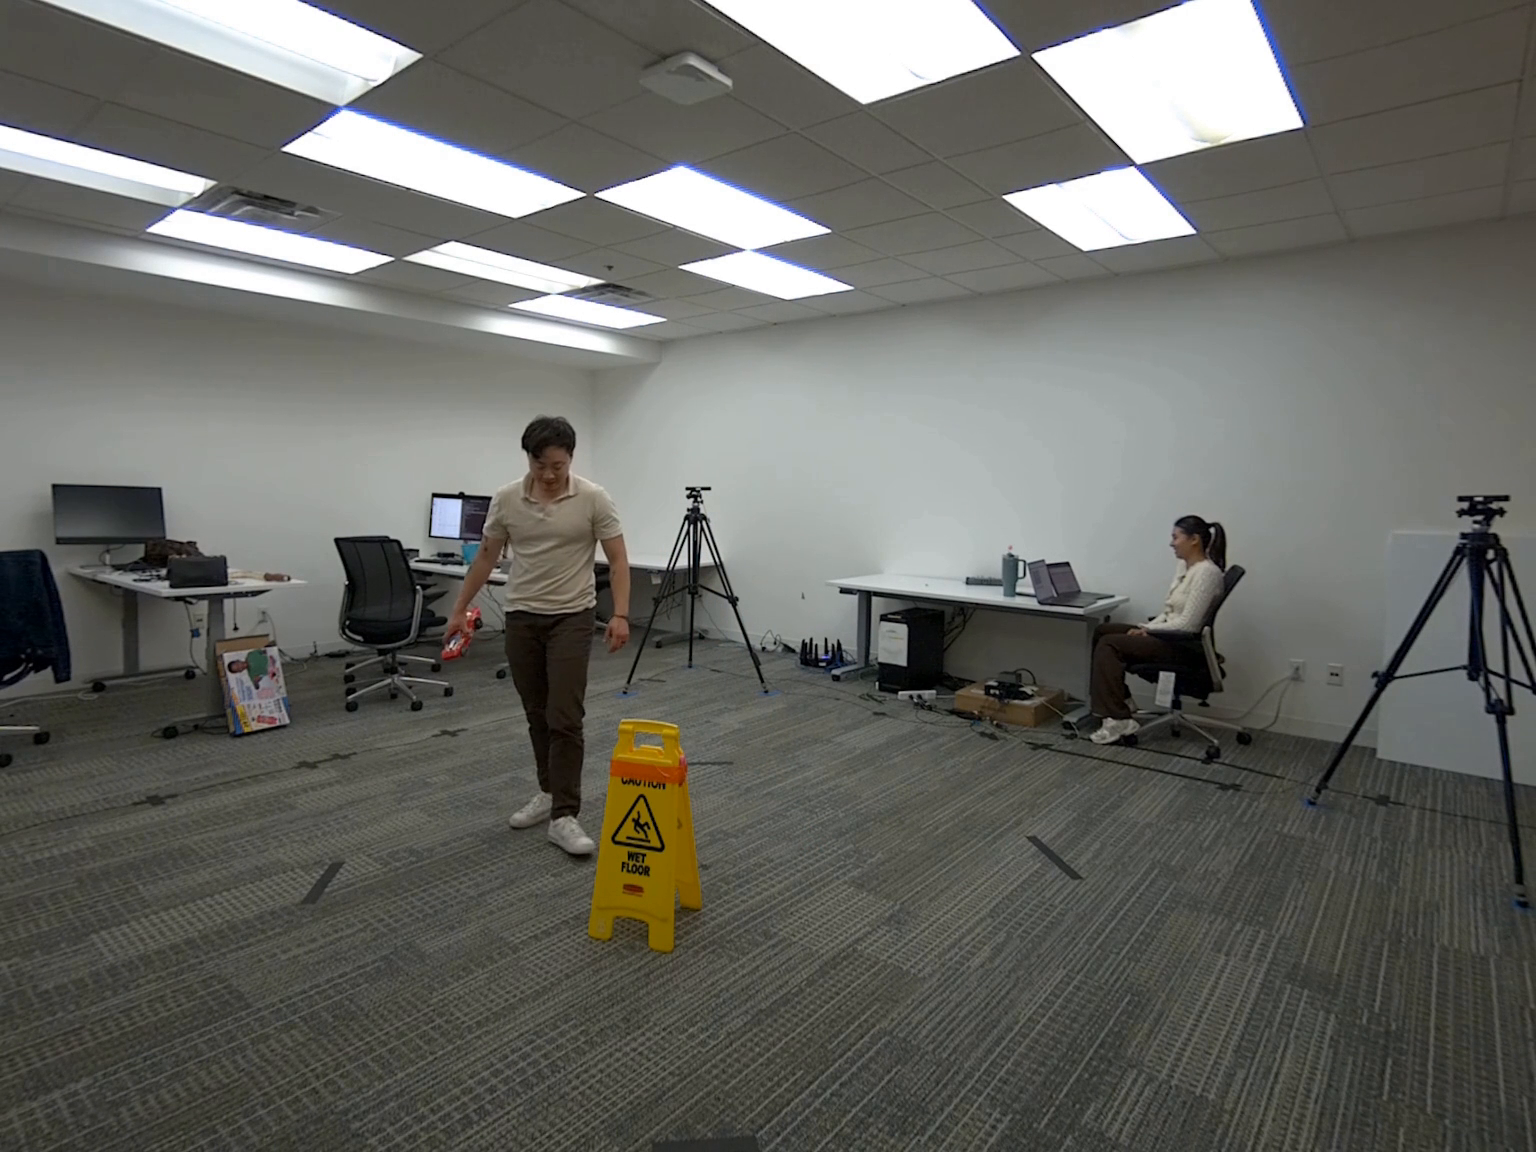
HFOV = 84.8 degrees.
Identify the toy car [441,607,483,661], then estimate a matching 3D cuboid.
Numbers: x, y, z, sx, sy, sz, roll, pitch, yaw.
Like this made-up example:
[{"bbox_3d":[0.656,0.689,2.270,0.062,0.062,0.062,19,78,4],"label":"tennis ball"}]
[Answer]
[{"bbox_3d":[-1.272,0.233,3.487,0.132,0.261,0.080,-18,-42,28],"label":"toy car"}]
